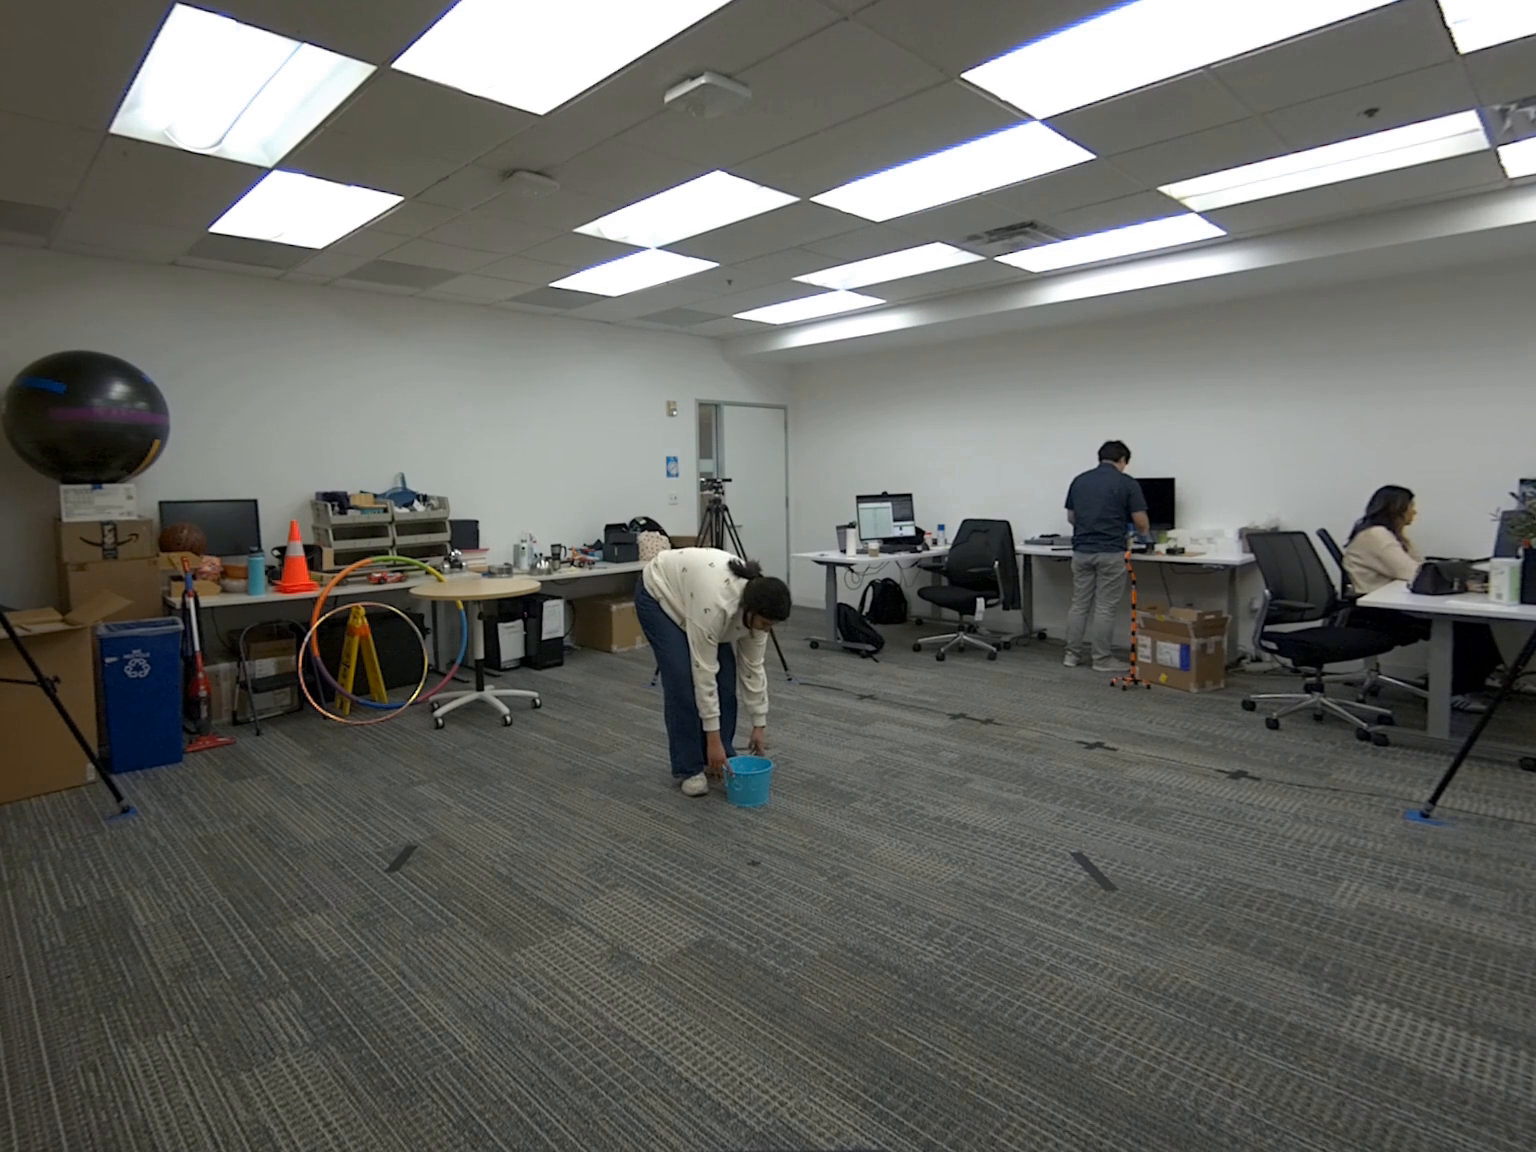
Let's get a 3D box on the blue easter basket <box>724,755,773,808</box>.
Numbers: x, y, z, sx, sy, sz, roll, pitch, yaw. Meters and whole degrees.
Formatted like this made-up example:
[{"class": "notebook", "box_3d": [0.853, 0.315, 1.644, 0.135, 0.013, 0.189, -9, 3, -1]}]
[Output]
[{"class": "blue easter basket", "box_3d": [-0.091, 0.893, 3.740, 0.243, 0.155, 0.245, -1, 5, -2]}]
